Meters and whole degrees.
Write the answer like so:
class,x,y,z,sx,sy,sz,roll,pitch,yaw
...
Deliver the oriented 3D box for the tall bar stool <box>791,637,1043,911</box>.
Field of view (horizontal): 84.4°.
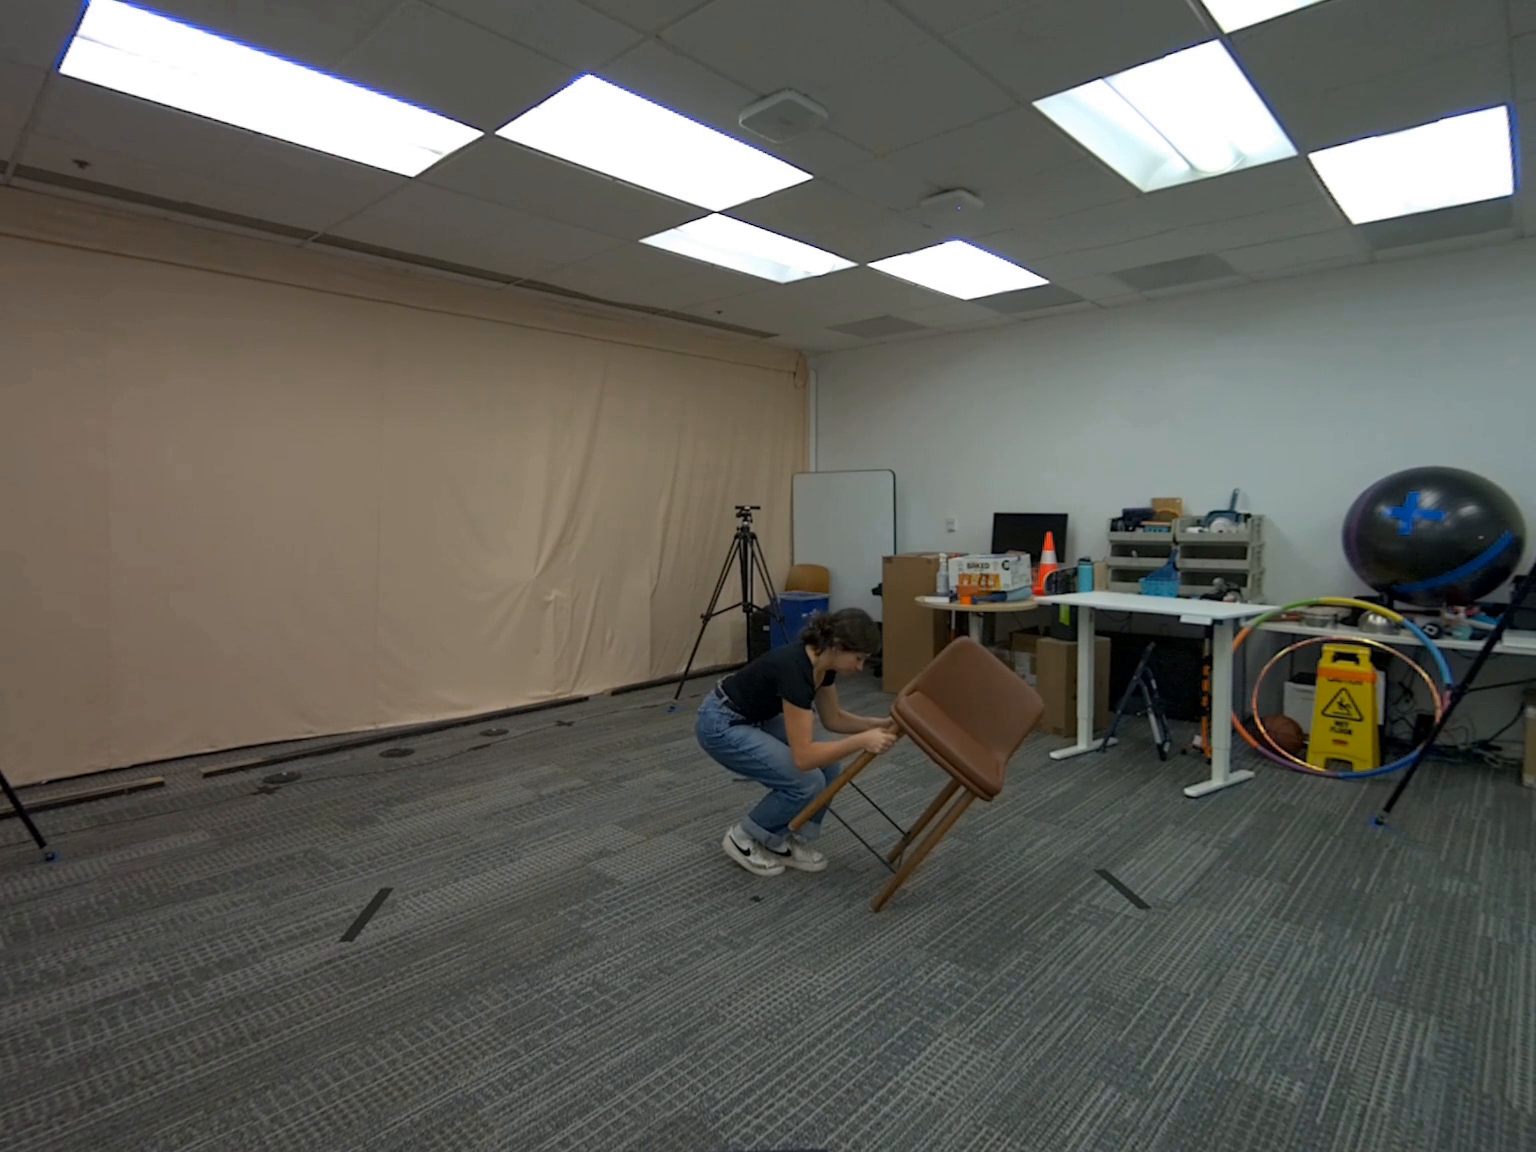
class,x,y,z,sx,sy,sz,roll,pitch,yaw
tall bar stool,0.564,0.687,3.031,0.464,0.892,0.459,43,13,13
